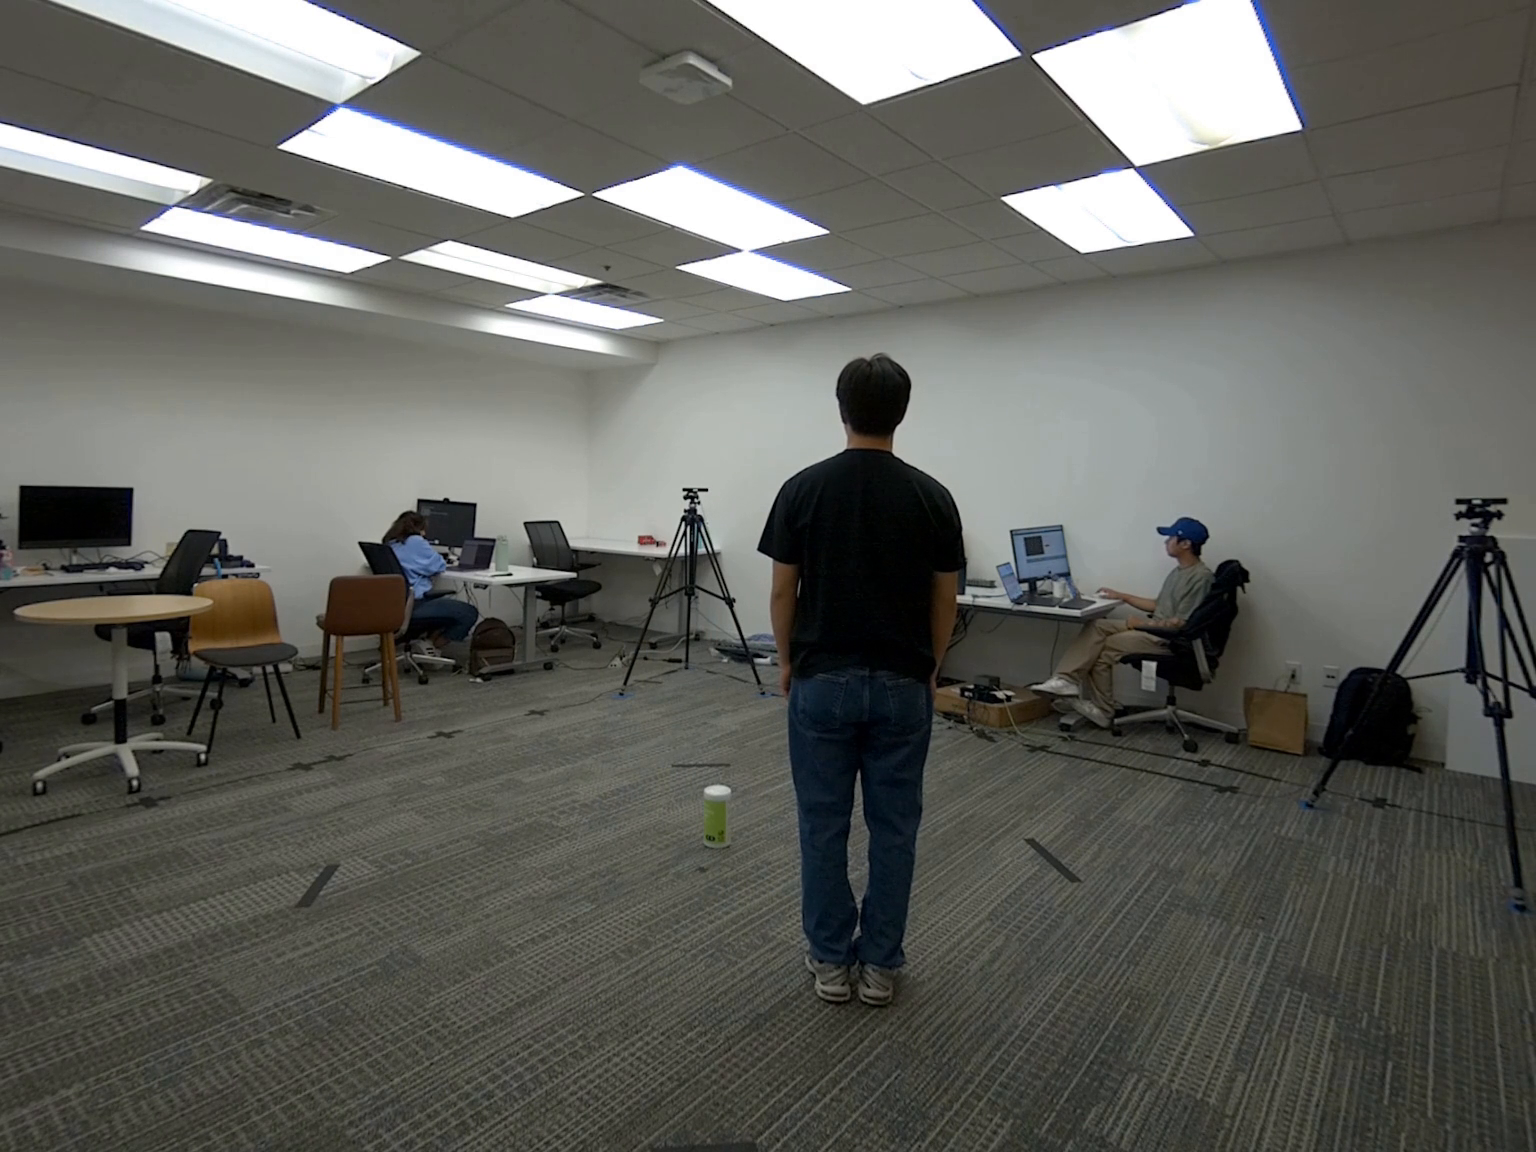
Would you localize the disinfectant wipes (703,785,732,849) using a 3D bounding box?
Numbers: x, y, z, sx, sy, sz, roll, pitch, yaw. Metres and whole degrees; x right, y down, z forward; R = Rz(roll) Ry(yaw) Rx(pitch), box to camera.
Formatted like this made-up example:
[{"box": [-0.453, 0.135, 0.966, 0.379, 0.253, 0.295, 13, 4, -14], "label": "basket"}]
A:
[{"box": [-0.208, 0.937, 3.342, 0.118, 0.216, 0.118, -2, 5, -2], "label": "disinfectant wipes"}]
